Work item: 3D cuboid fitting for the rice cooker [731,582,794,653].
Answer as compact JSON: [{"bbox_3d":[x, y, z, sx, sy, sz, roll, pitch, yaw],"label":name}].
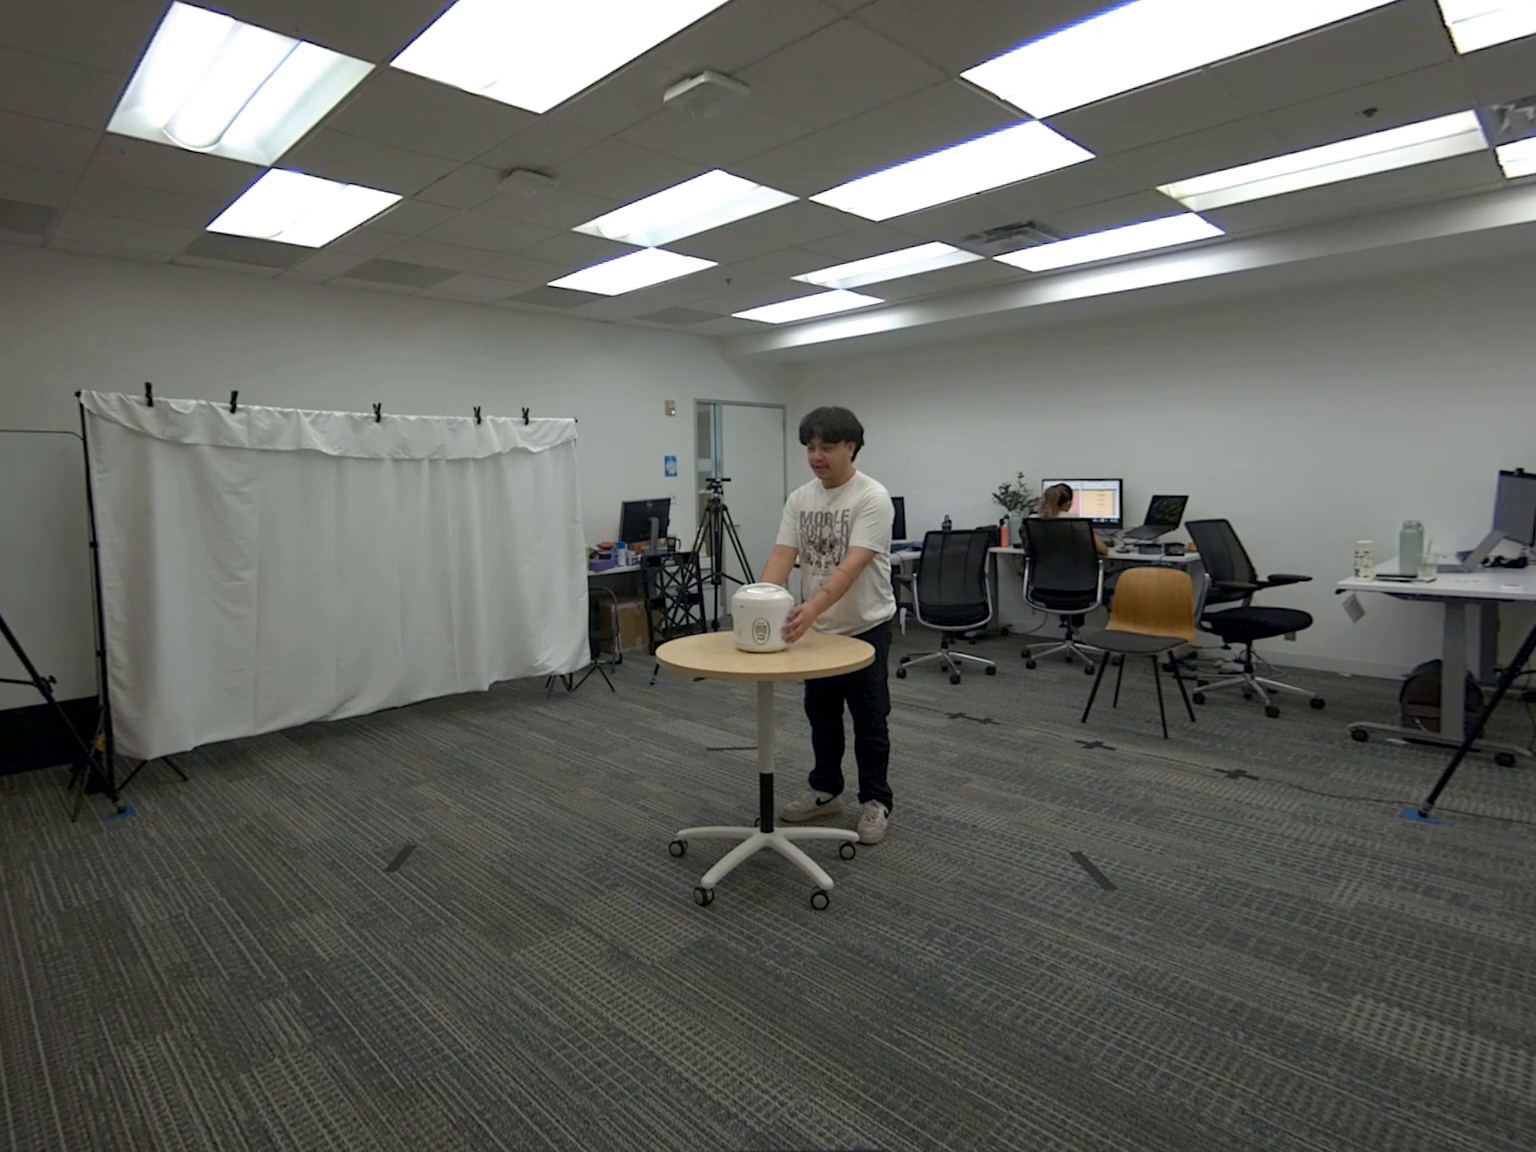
[{"bbox_3d":[-0.020,0.140,2.998,0.221,0.232,0.217,-2,4,2],"label":"rice cooker"}]
